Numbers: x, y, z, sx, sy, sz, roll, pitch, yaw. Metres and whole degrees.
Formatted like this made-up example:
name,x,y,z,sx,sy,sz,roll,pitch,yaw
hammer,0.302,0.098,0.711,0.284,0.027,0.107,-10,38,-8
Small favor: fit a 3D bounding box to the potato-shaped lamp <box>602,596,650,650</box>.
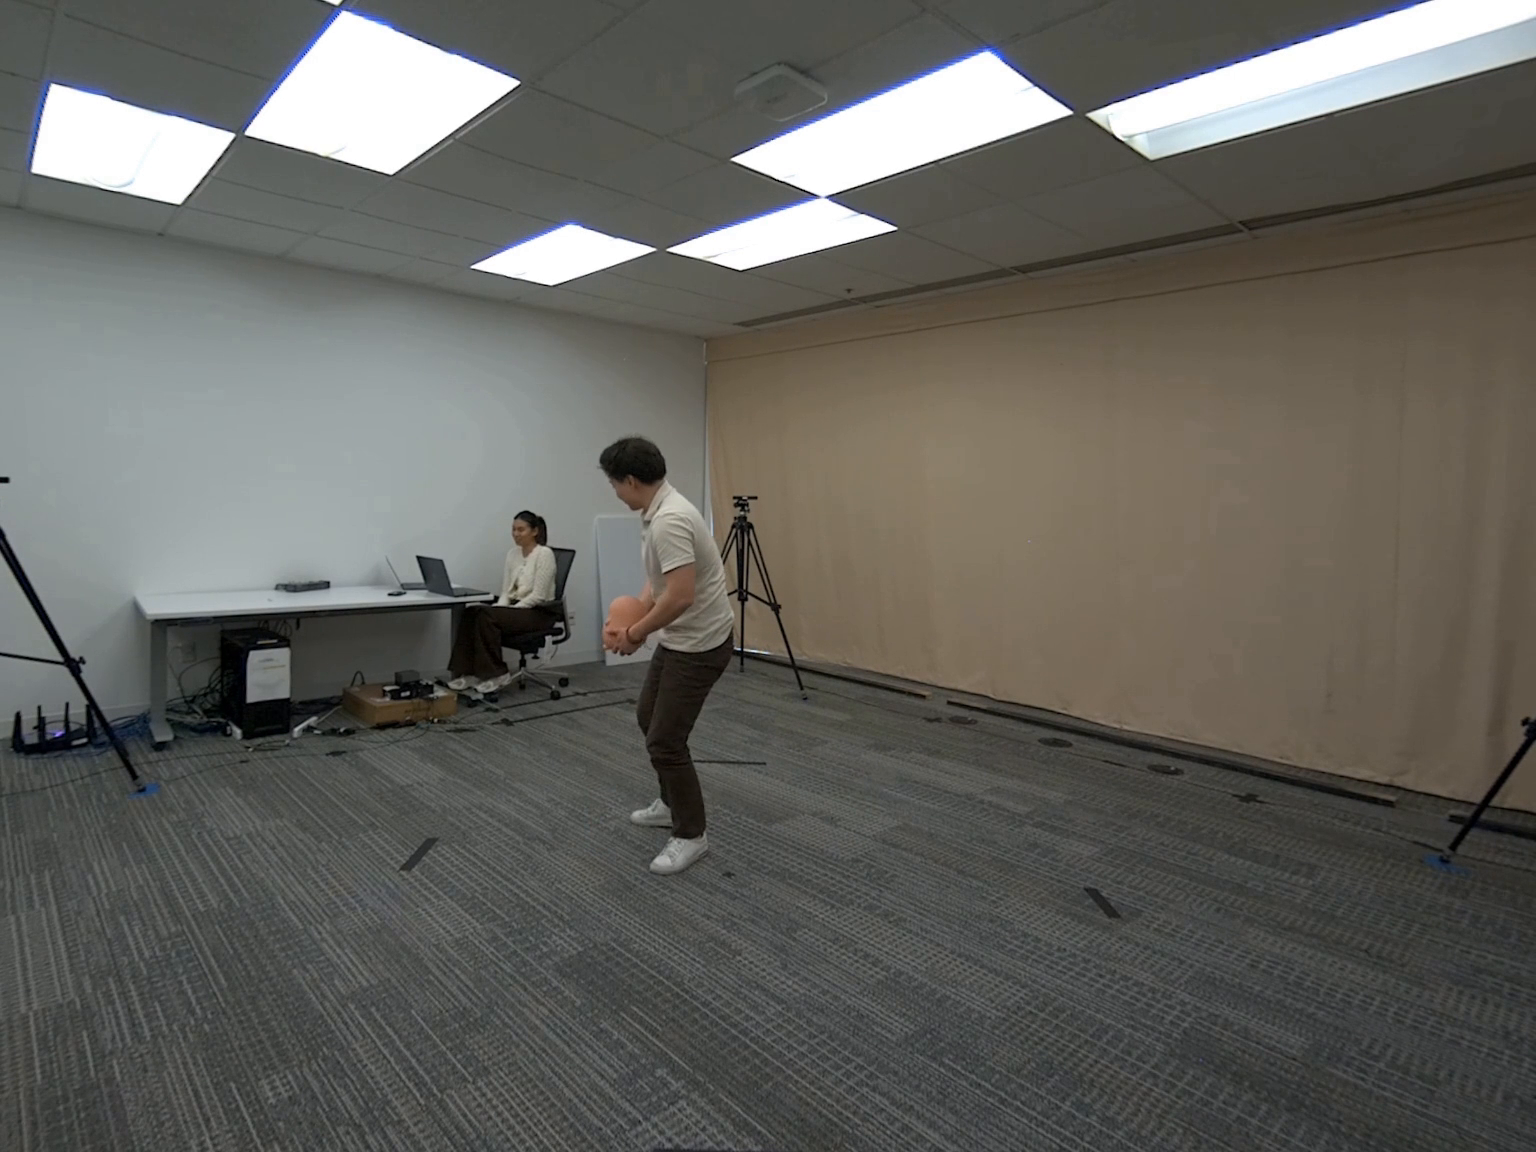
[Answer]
name,x,y,z,sx,sy,sz,roll,pitch,yaw
potato-shaped lamp,-0.531,0.176,3.118,0.172,0.198,0.164,-3,1,8
